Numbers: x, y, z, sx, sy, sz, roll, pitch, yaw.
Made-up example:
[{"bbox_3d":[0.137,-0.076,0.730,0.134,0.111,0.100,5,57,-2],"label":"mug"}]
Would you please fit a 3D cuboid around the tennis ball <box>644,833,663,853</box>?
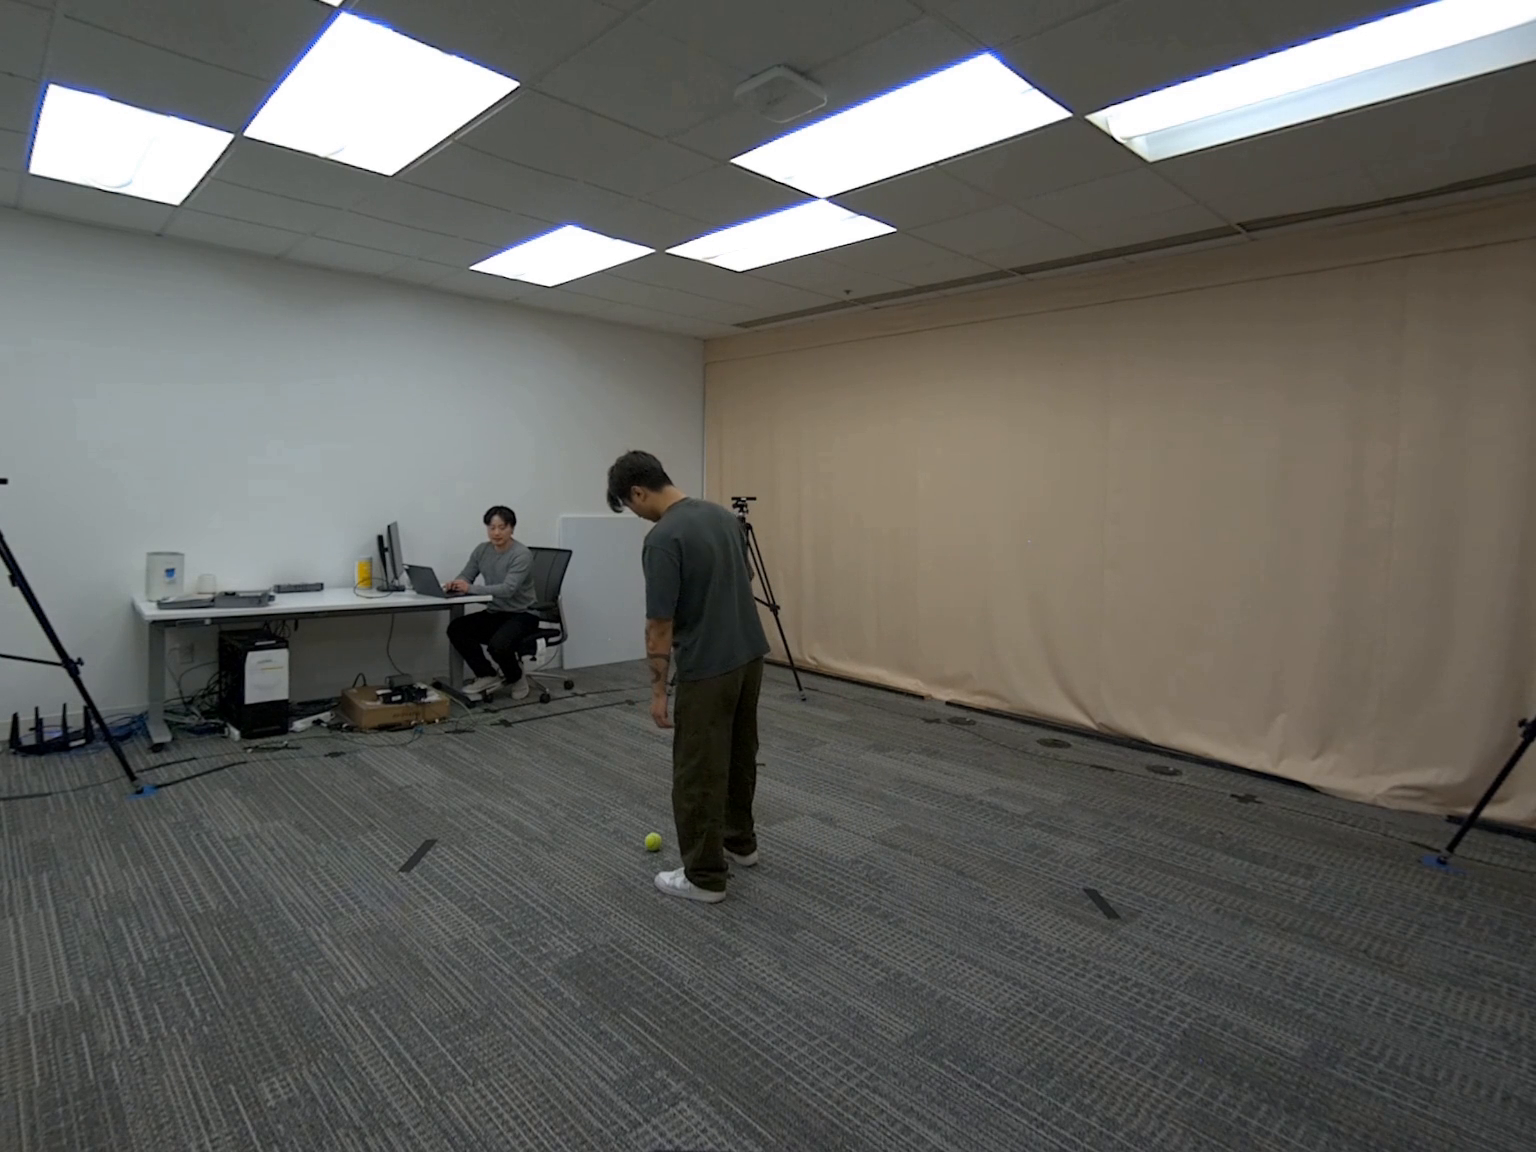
[{"bbox_3d":[-0.456,1.031,3.310,0.066,0.066,0.067,1,4,-1],"label":"tennis ball"}]
